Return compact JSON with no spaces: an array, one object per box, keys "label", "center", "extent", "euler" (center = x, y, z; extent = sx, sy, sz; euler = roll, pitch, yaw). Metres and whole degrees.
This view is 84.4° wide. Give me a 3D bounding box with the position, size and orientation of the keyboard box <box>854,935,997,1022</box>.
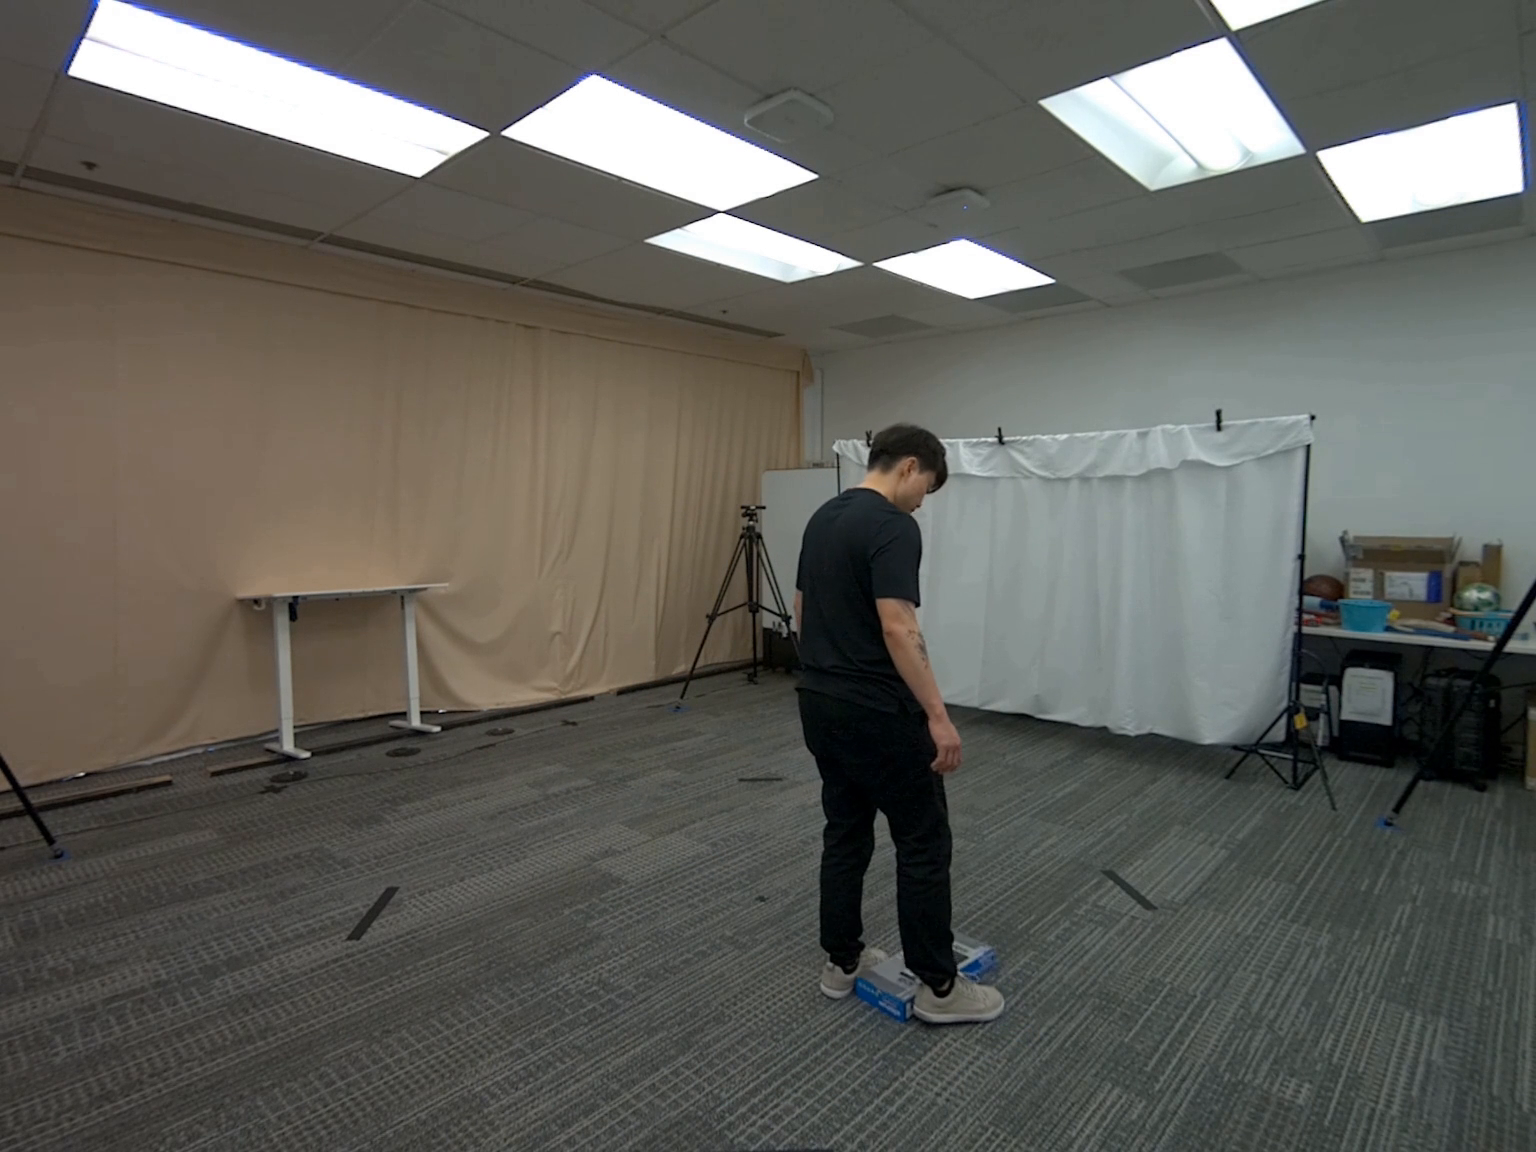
[{"label":"keyboard box","center":[0.472,1.160,2.452],"extent":[0.424,0.059,0.182],"euler":[-5,6,-41]}]
